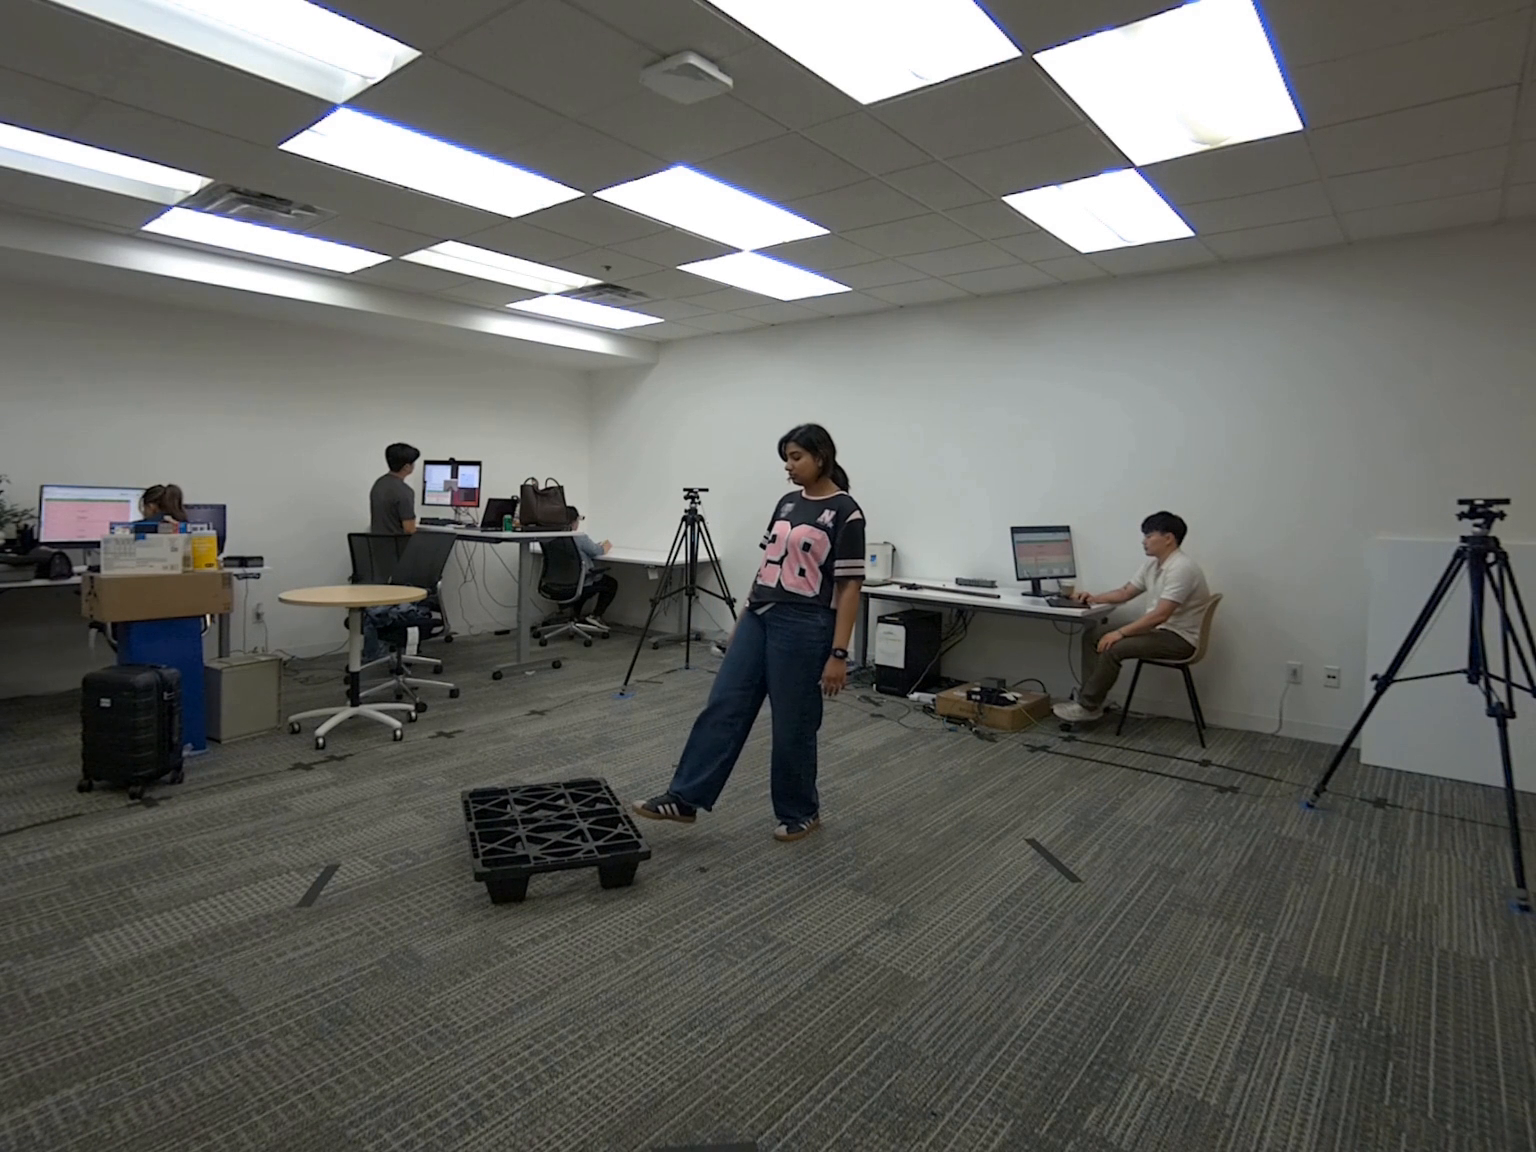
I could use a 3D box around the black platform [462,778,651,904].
[{"bbox_3d":[-0.847,0.982,3.223,0.593,0.143,0.825,-2,6,-22],"label":"black platform"}]
